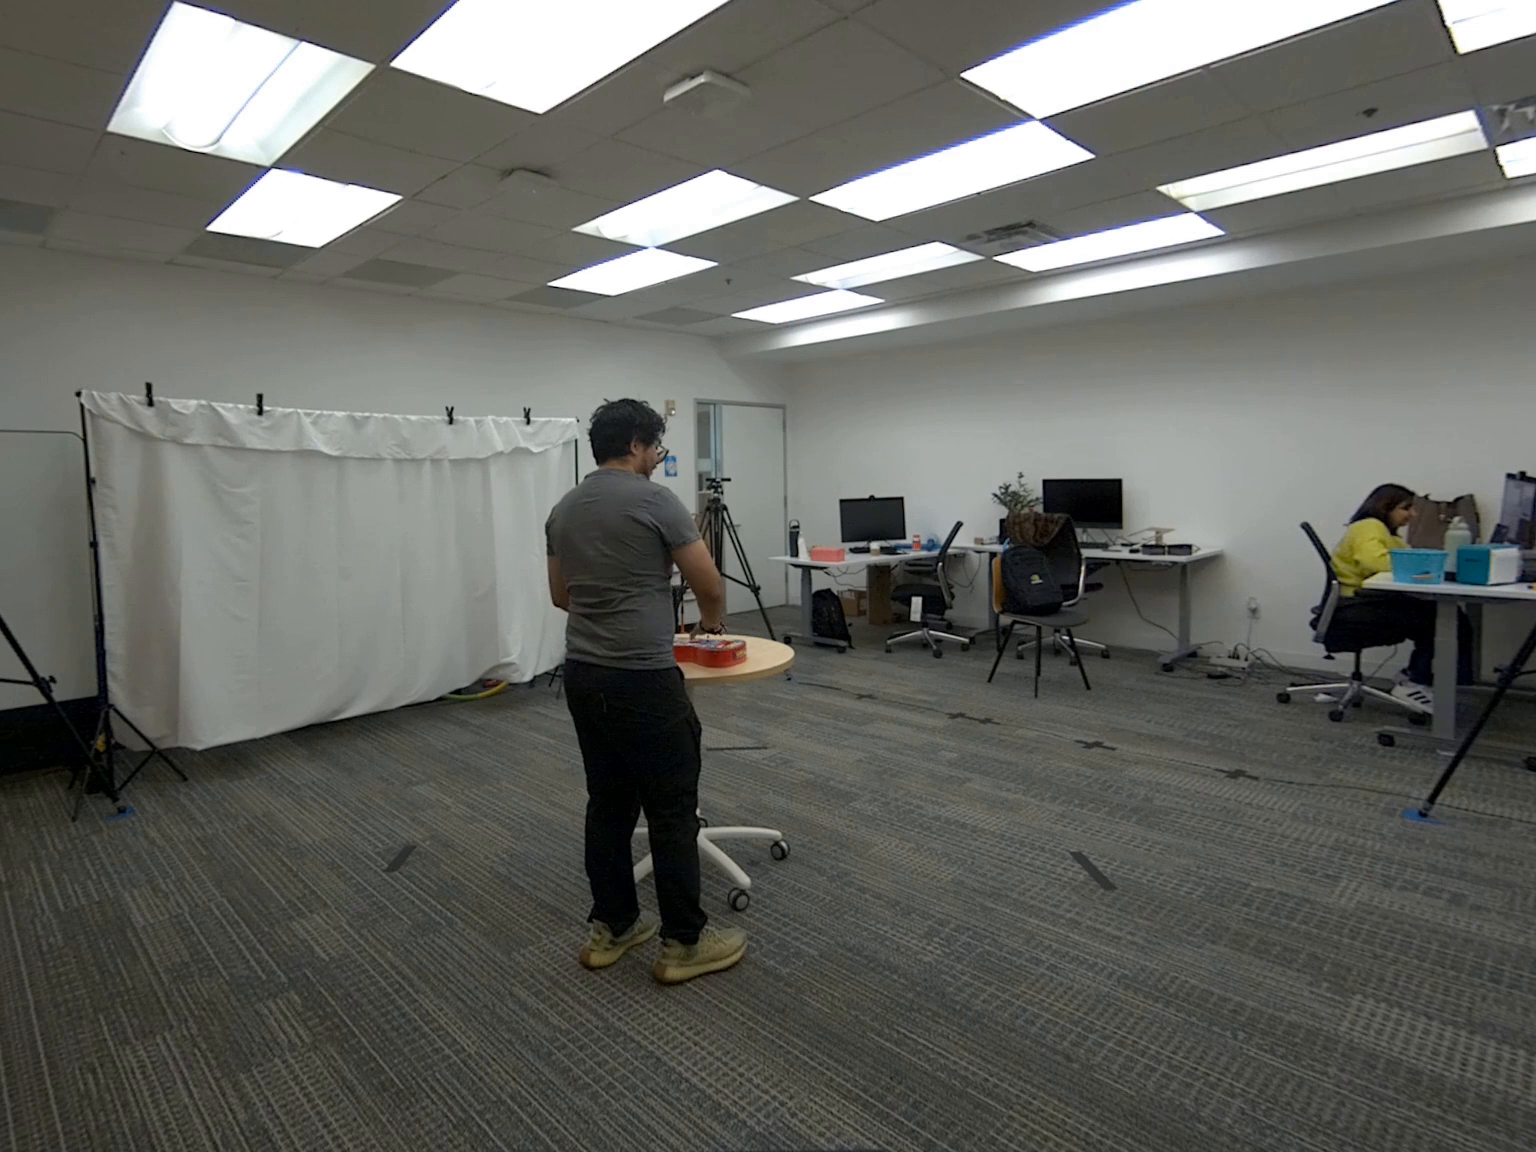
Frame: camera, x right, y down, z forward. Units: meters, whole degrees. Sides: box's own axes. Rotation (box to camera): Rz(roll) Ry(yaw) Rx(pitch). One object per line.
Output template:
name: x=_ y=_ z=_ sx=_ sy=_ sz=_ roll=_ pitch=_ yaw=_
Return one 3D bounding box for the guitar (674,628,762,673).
guitar: x=-0.286 y=0.245 z=2.959 sx=0.512 sy=0.070 sz=0.188 roll=4 pitch=10 yaw=36
